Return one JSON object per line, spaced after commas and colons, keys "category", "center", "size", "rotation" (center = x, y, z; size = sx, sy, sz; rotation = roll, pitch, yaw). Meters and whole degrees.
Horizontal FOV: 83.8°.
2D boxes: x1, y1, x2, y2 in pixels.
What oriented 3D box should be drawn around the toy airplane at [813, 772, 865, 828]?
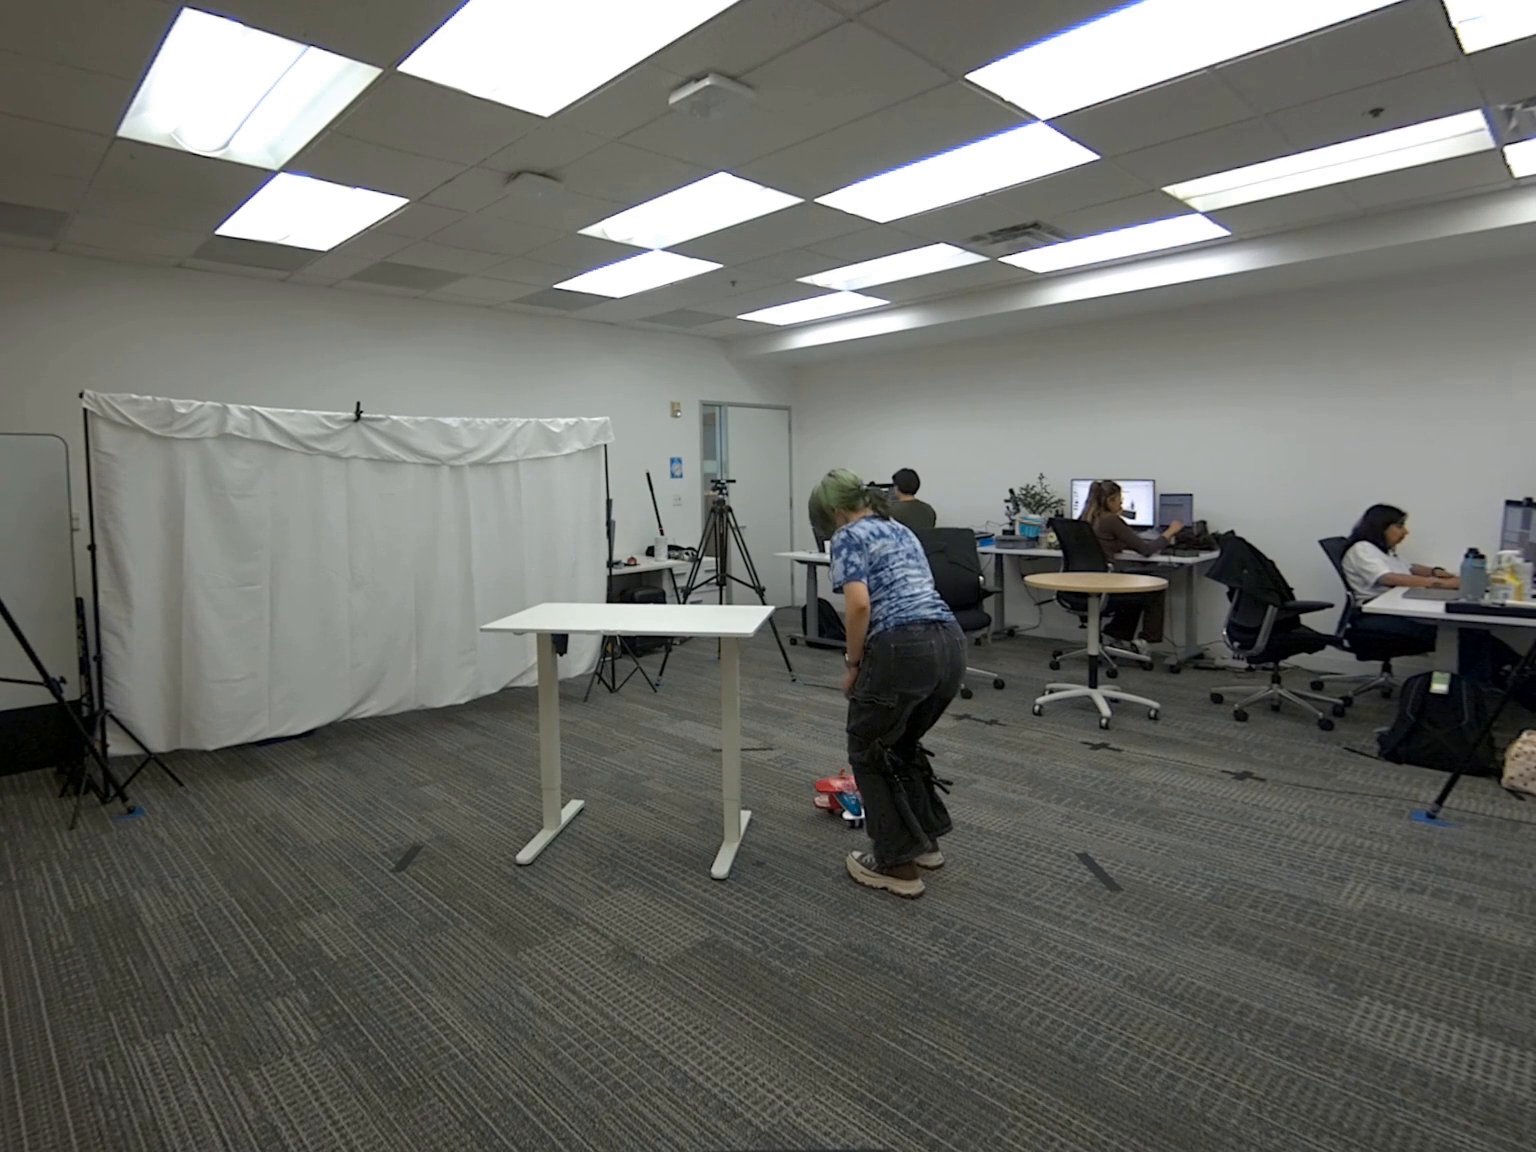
{"category": "toy airplane", "center": [0.345, 0.929, 3.513], "size": [0.244, 0.156, 0.267], "rotation": [-5, 7, -42]}
